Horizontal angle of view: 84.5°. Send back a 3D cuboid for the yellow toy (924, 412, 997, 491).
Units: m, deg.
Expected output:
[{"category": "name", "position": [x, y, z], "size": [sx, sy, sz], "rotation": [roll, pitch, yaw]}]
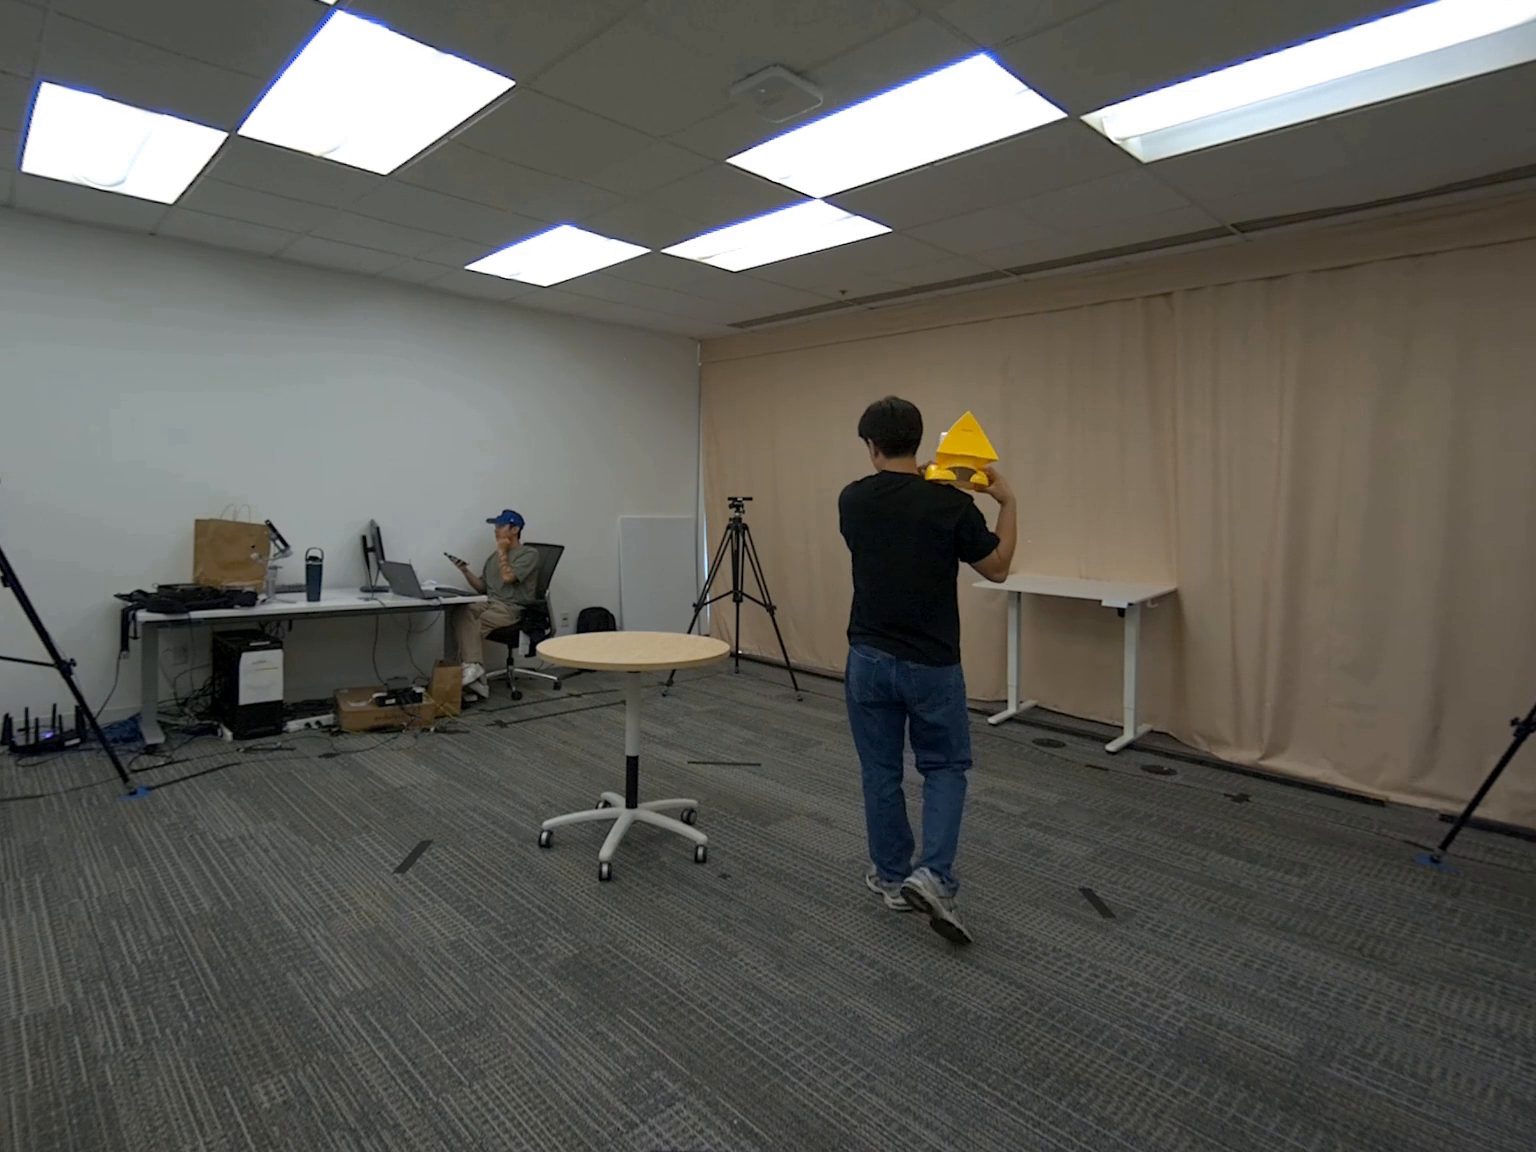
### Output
[{"category": "yellow toy", "position": [0.623, -0.418, 2.762], "size": [0.204, 0.231, 0.193], "rotation": [7, -4, -5]}]
